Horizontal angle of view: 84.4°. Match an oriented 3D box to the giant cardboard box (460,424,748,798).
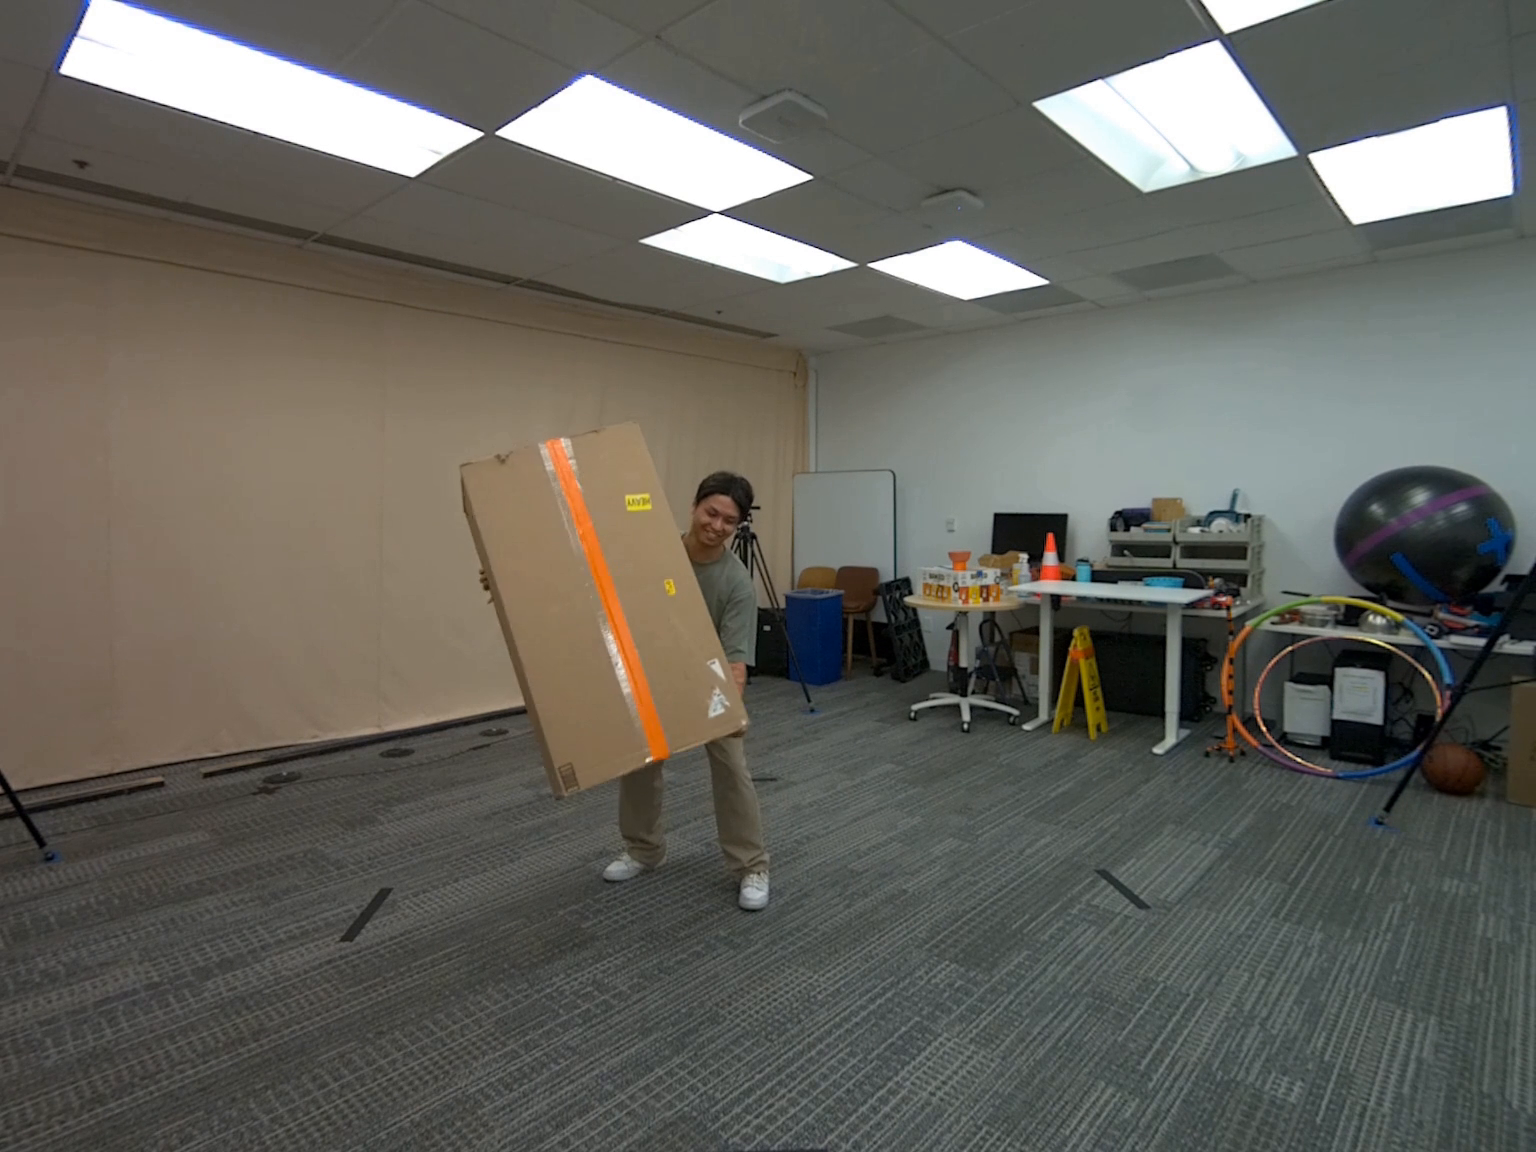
[{"bbox_3d":[-0.550,0.108,2.688,0.568,1.037,0.428,-17,-12,-20],"label":"giant cardboard box"}]
